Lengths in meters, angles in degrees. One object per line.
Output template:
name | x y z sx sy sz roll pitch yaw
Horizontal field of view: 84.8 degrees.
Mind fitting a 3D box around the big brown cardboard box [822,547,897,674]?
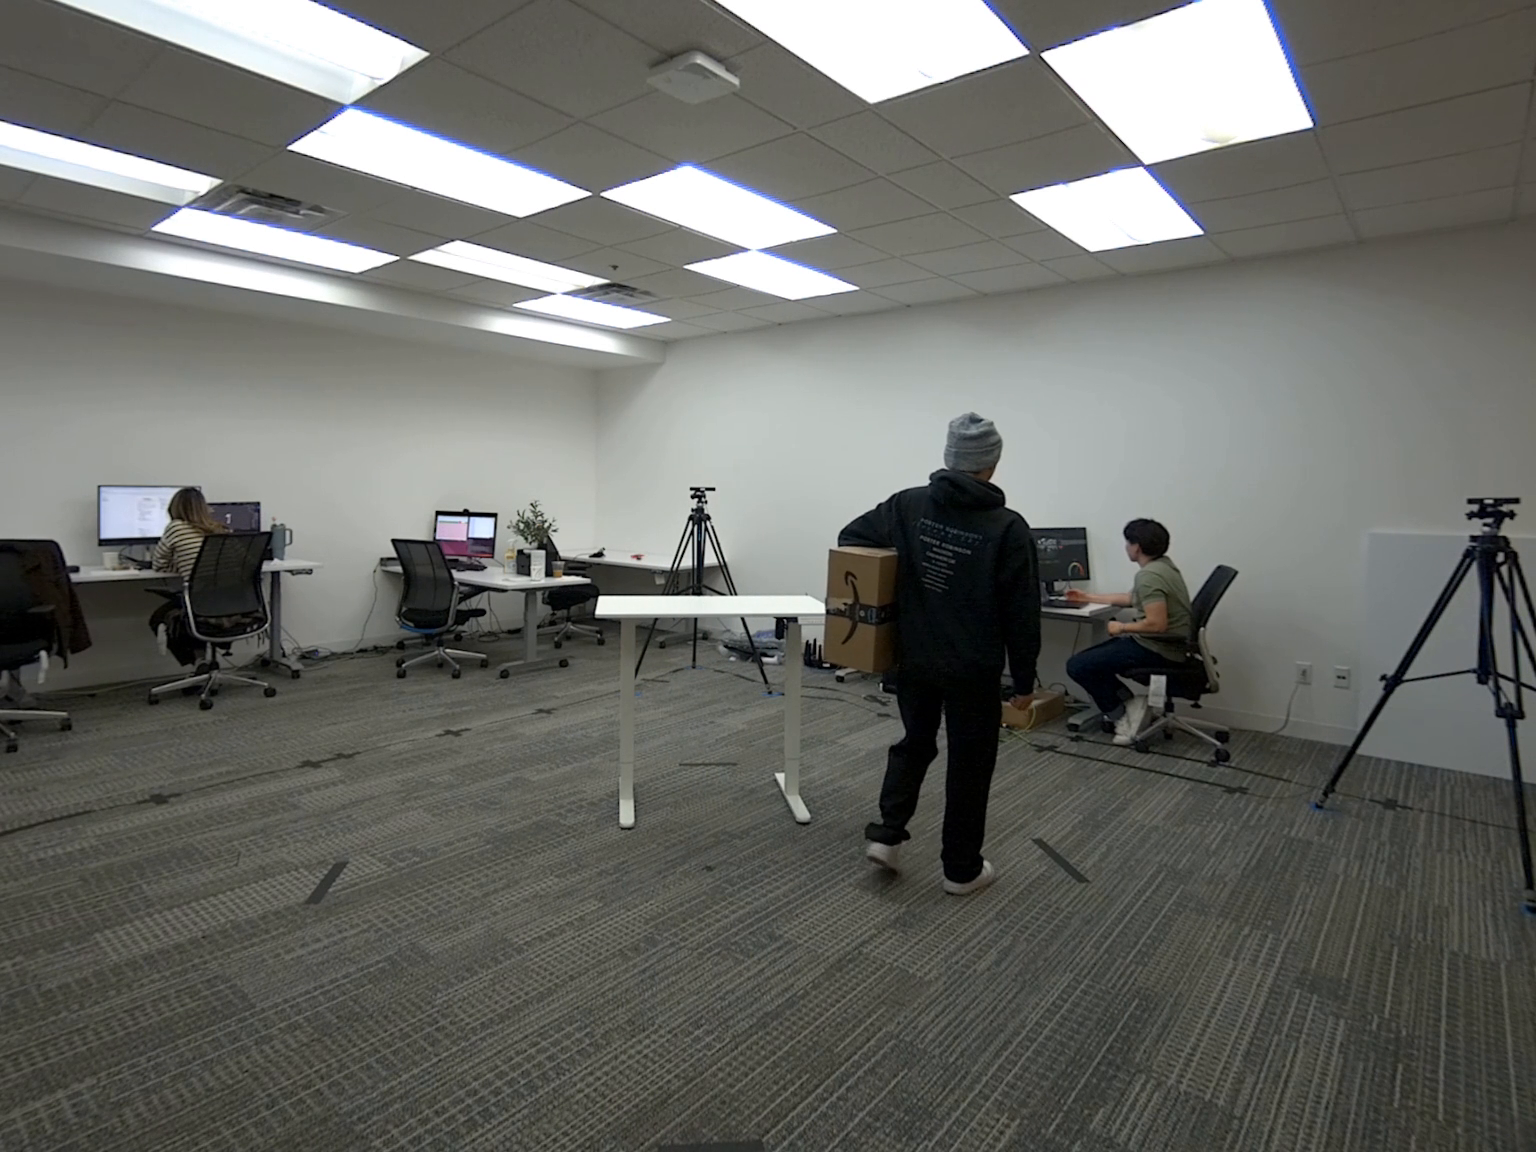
big brown cardboard box | 0.451 0.094 3.208 0.241 0.415 0.572 8 10 38
